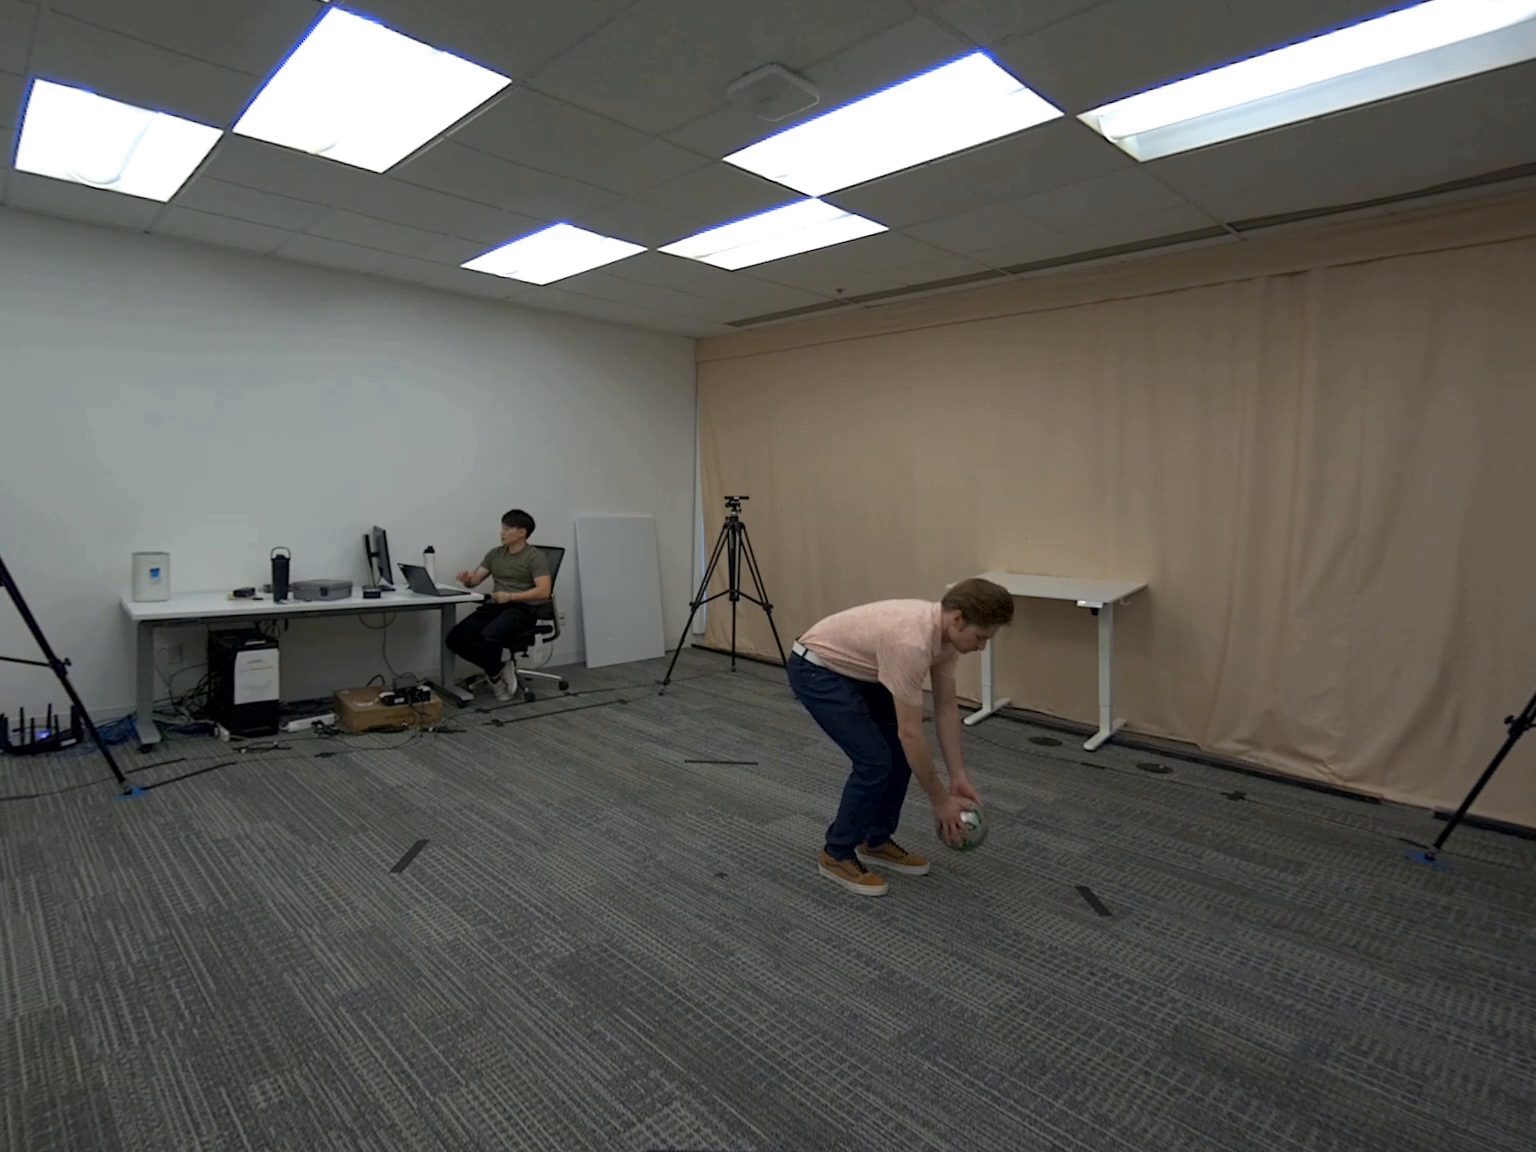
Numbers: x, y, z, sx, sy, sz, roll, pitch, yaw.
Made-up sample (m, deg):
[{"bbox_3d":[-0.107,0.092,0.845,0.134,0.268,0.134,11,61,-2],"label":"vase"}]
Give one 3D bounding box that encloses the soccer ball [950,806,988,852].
[{"bbox_3d":[0.673,0.877,3.003,0.187,0.187,0.188,1,4,-1],"label":"soccer ball"}]
